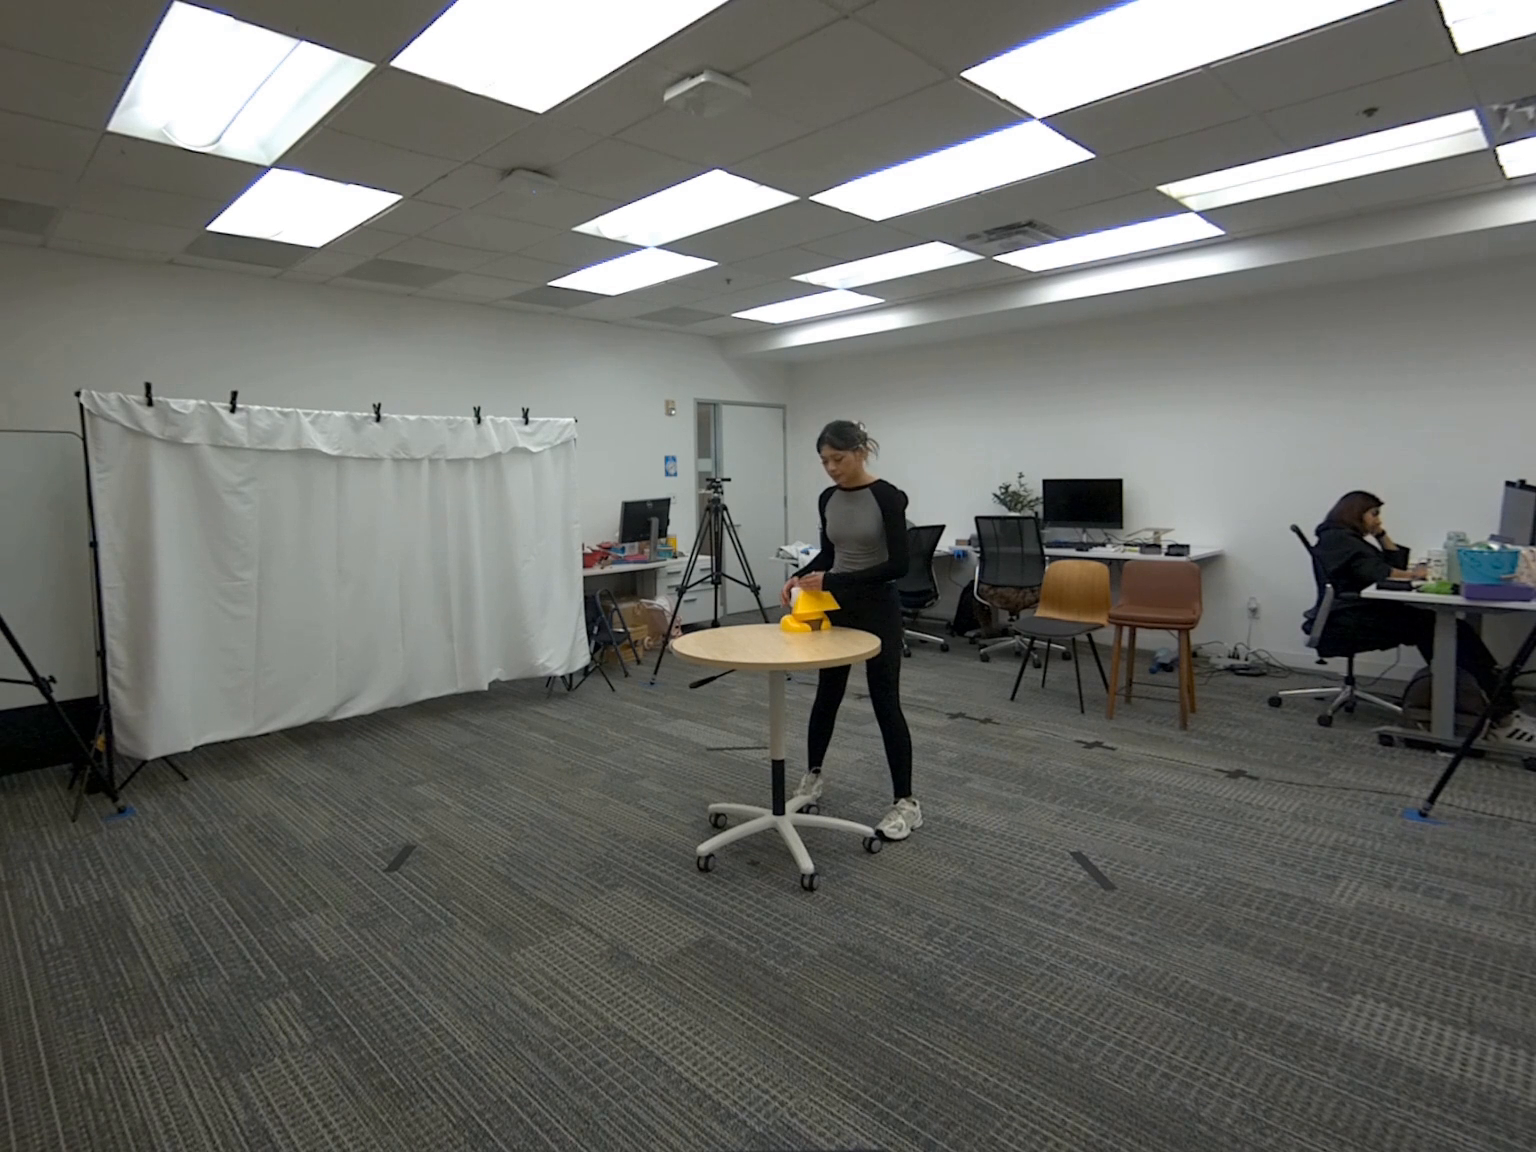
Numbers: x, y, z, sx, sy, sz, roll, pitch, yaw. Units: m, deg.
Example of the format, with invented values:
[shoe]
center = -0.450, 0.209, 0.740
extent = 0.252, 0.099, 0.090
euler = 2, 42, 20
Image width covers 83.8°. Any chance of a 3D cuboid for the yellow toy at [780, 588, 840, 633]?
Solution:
[yellow toy]
center = 0.156, 0.097, 3.423
extent = 0.200, 0.230, 0.198
euler = -4, 6, -30
